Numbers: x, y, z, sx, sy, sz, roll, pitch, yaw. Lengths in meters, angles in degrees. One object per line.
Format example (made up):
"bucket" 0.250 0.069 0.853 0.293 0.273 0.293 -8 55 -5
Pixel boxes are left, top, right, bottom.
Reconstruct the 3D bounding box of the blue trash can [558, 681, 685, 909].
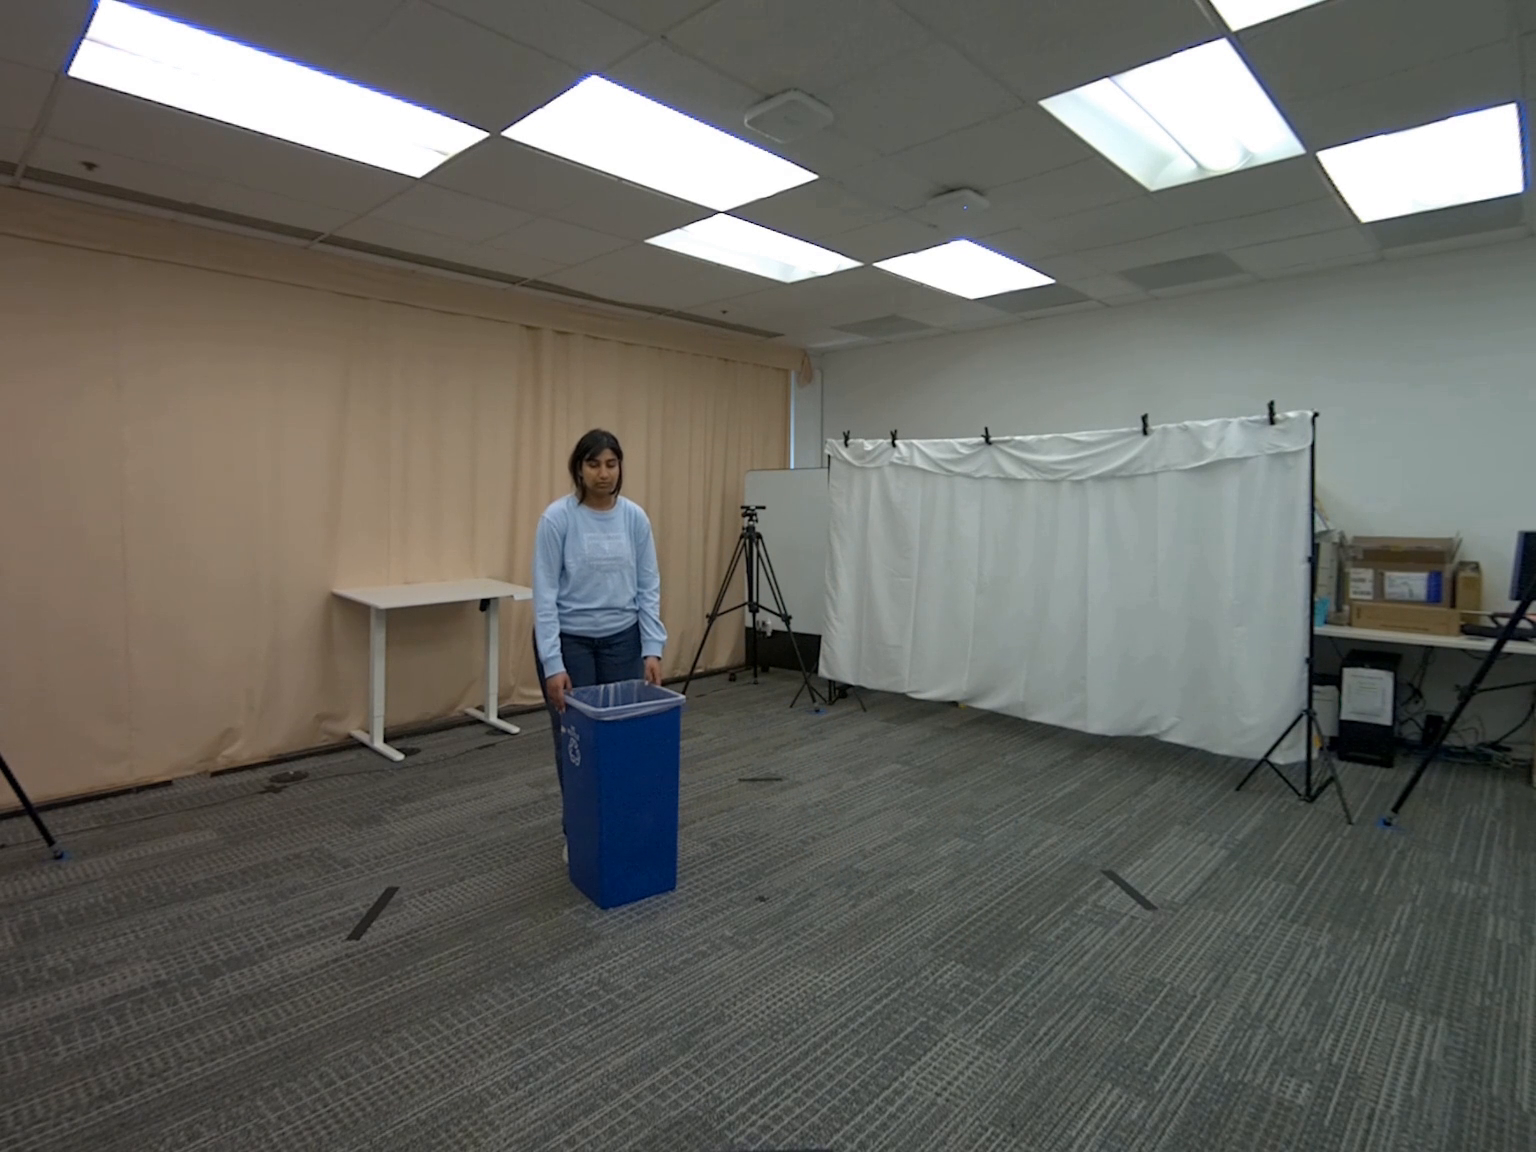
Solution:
"blue trash can" -0.532 0.784 3.082 0.367 0.712 0.386 -3 4 -35
